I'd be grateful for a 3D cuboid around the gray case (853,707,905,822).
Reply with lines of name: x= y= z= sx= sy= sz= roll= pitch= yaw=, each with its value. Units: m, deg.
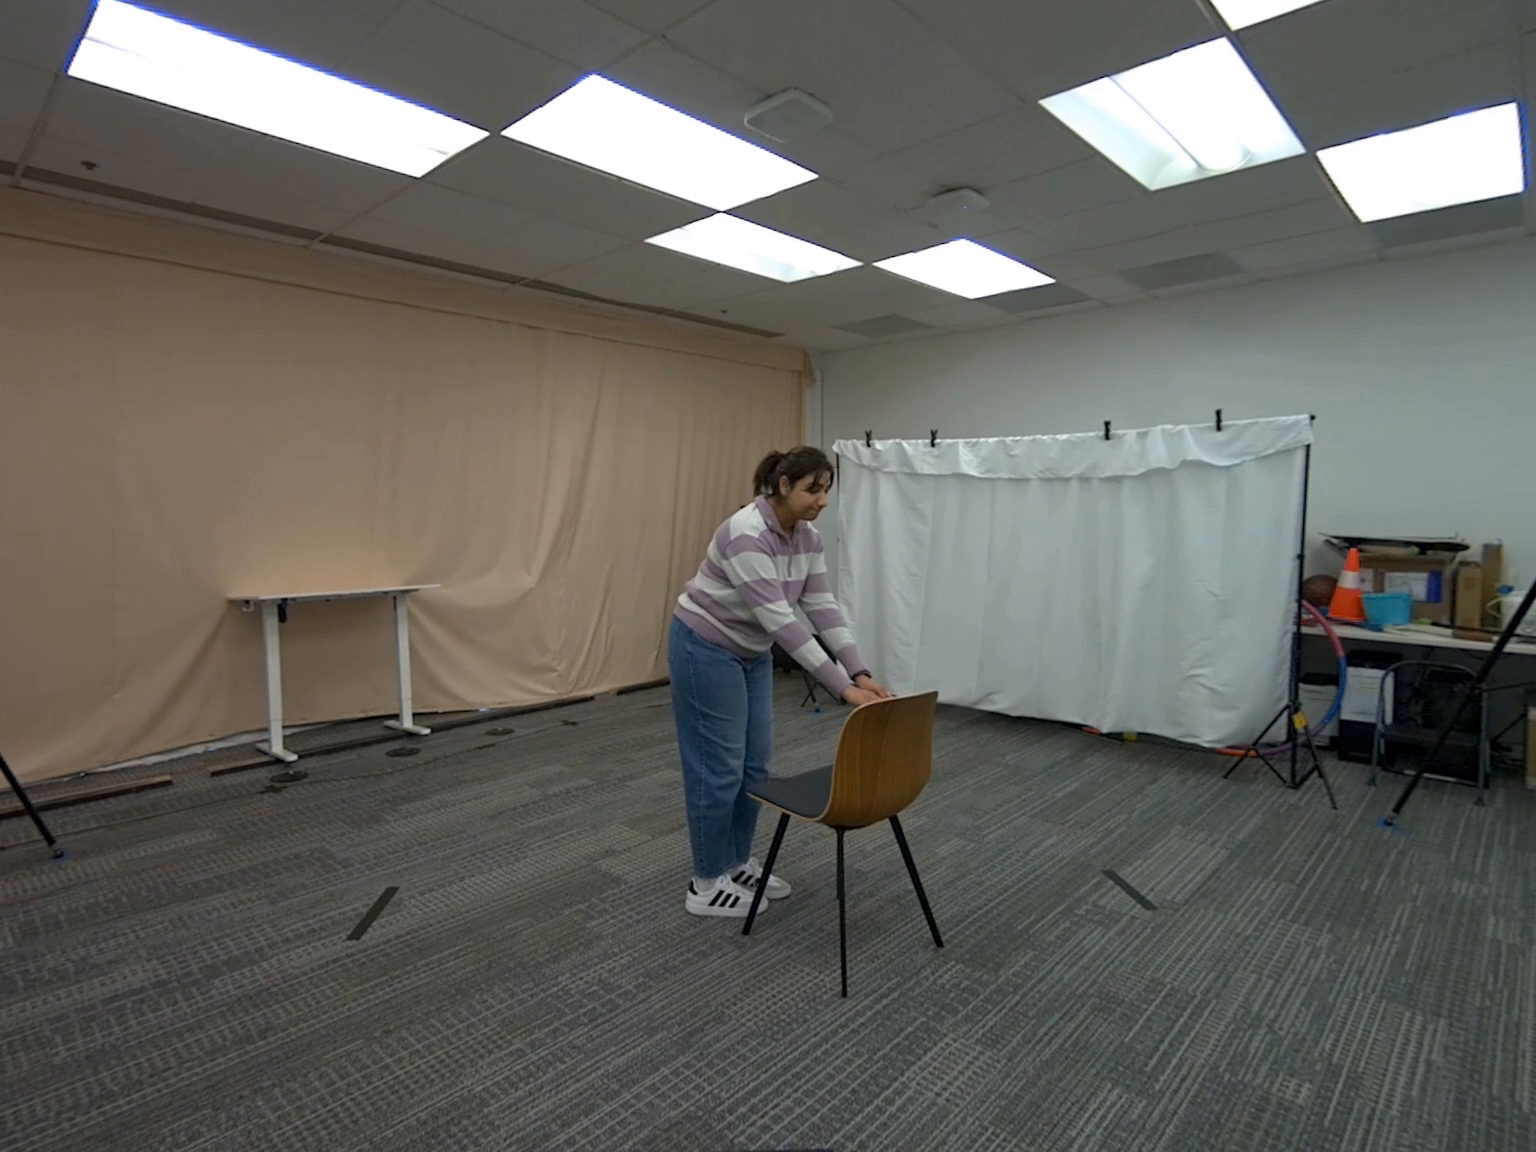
gray case: x=0.337 y=0.569 z=2.602 sx=0.105 sy=0.260 sz=0.255 roll=10 pitch=5 yaw=6
